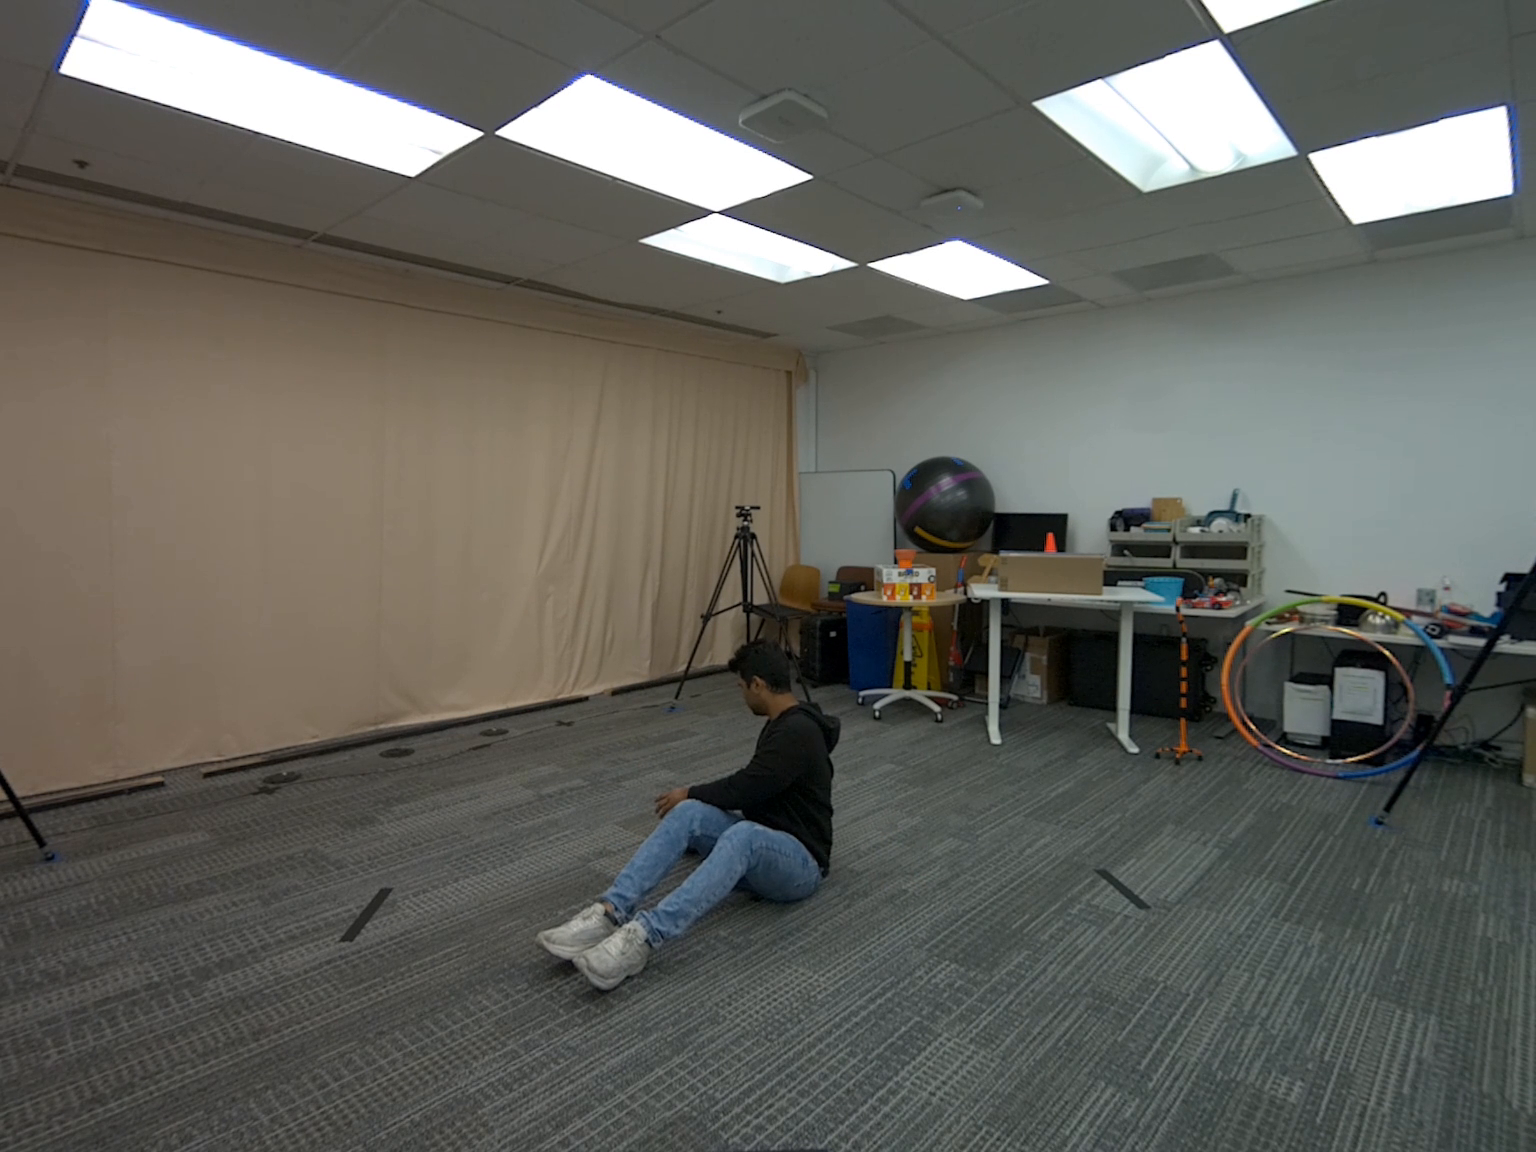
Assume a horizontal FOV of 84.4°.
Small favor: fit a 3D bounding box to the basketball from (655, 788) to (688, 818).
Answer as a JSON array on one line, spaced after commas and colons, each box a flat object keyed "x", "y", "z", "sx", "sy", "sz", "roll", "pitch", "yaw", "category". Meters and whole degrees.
[{"x": -0.304, "y": 0.991, "z": 3.412, "sx": 0.236, "sy": 0.235, "sz": 0.237, "roll": 0, "pitch": 4, "yaw": -2, "category": "basketball"}]
